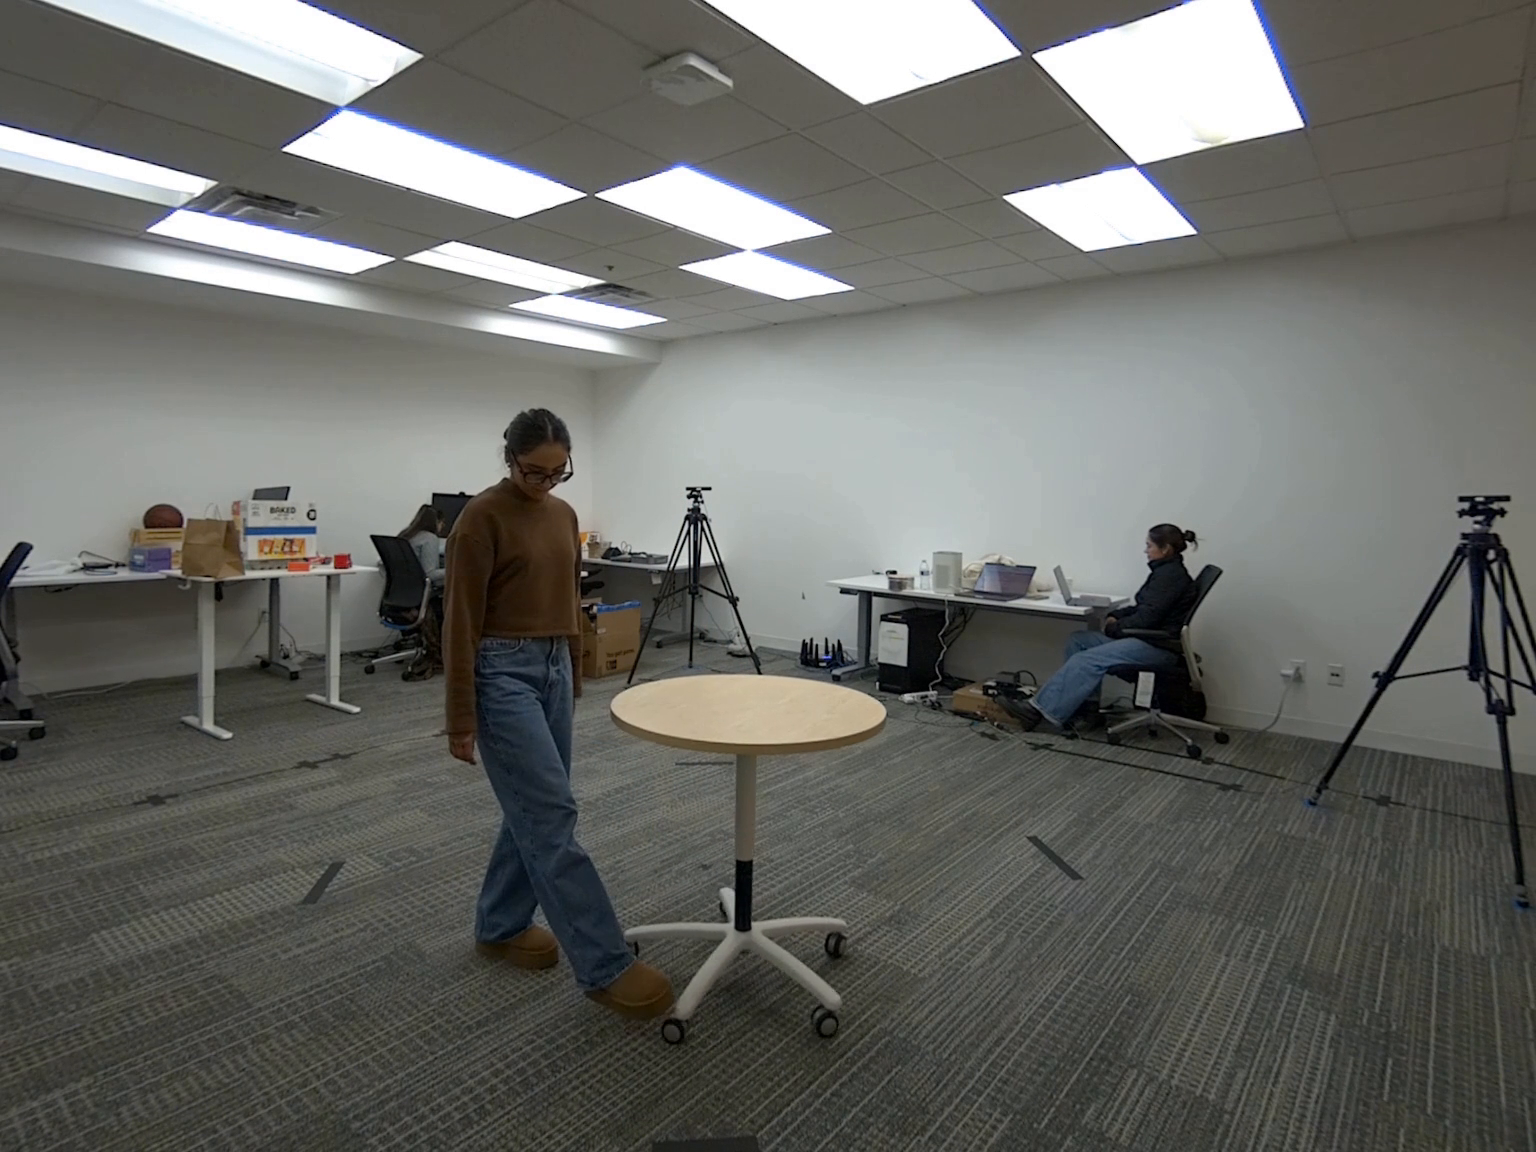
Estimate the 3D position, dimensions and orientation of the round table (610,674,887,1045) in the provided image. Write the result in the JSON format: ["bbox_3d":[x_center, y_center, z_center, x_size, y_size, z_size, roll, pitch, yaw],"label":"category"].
[{"bbox_3d":[-0.078,0.752,2.408,0.763,0.791,0.768,1,4,-2],"label":"round table"}]
